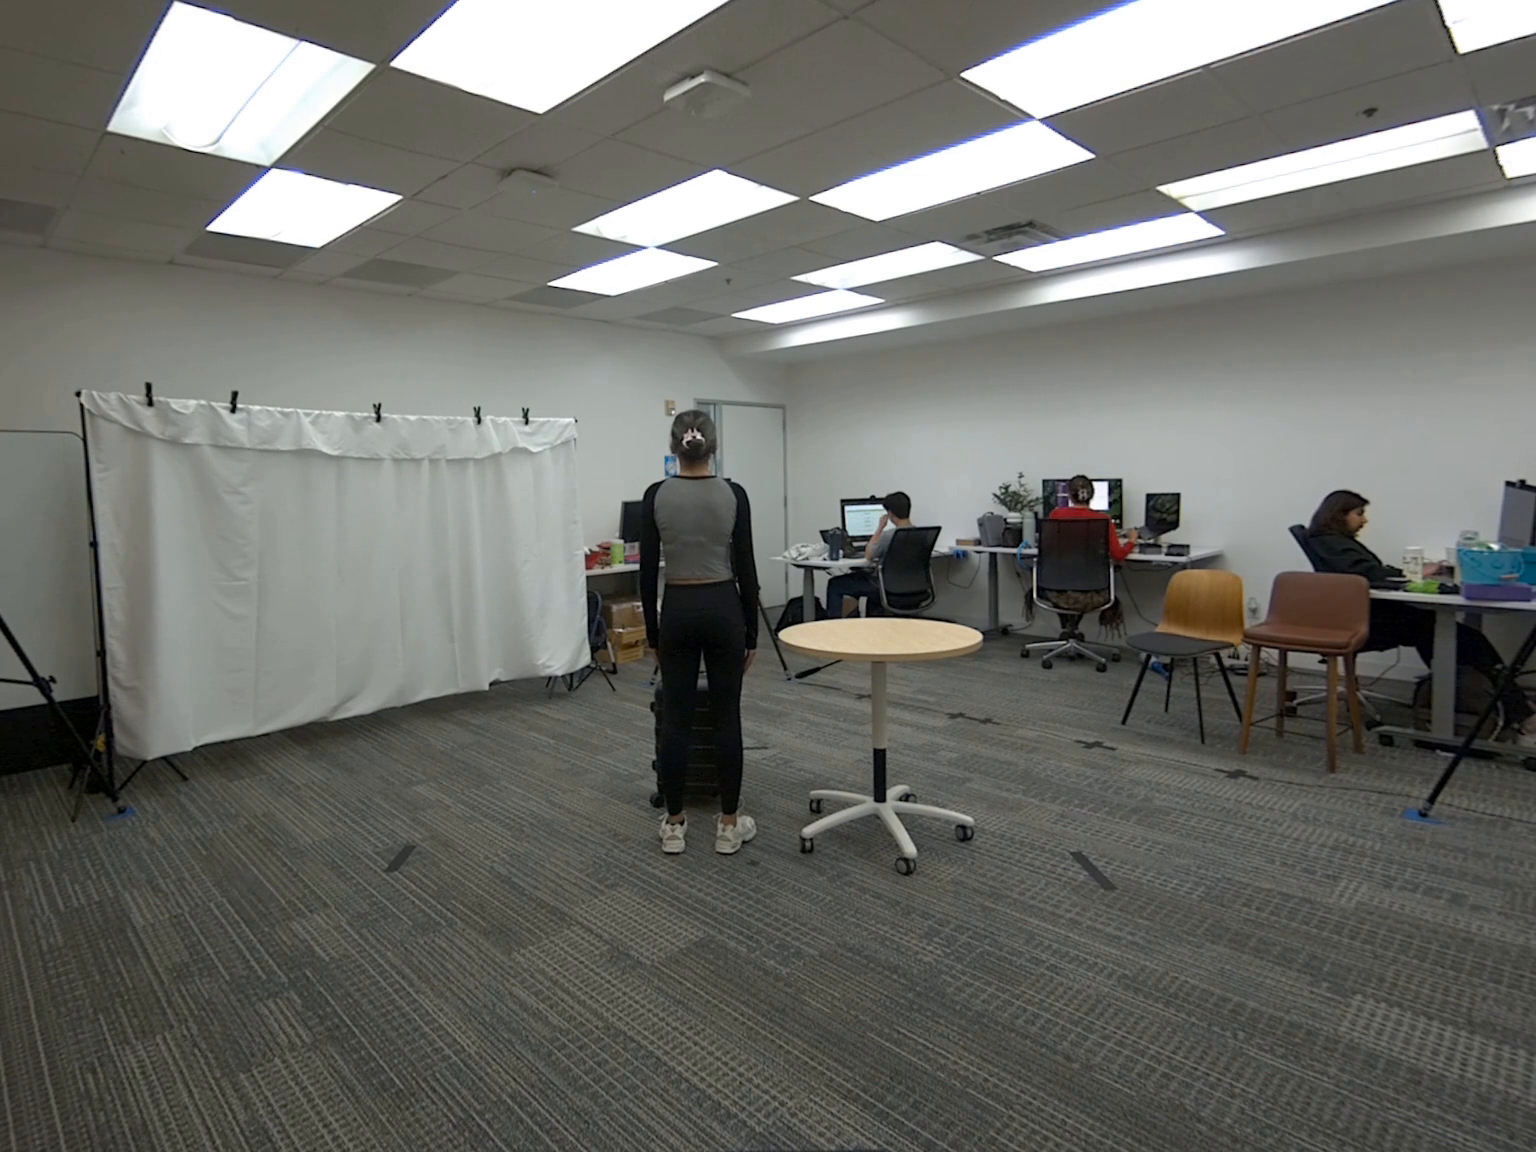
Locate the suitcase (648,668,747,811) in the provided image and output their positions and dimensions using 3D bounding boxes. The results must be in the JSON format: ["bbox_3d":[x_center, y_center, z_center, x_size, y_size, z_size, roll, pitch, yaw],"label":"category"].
[{"bbox_3d":[-0.303,0.700,3.733,0.379,0.548,0.246,0,3,9],"label":"suitcase"}]
